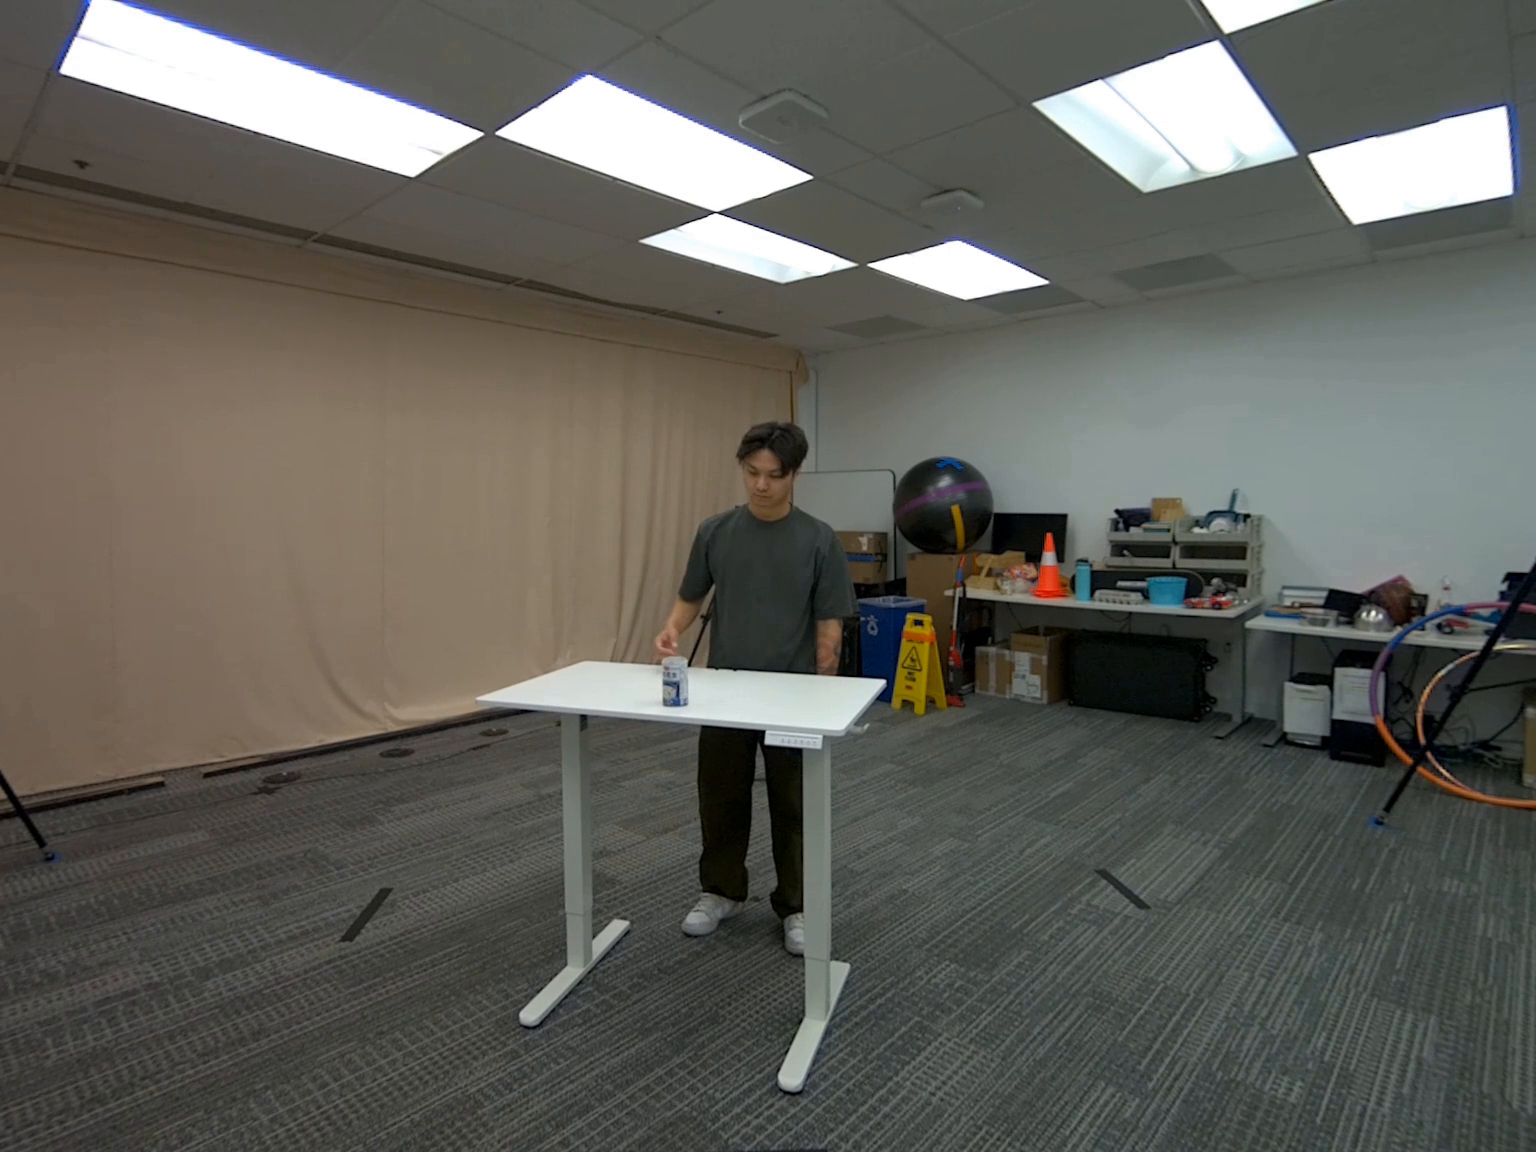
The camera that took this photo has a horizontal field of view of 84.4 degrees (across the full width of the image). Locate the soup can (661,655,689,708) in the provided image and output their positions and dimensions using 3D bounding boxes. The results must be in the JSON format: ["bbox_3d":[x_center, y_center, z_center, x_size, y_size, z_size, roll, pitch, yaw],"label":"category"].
[{"bbox_3d":[-0.235,0.272,2.162,0.067,0.121,0.067,1,6,-2],"label":"soup can"}]
